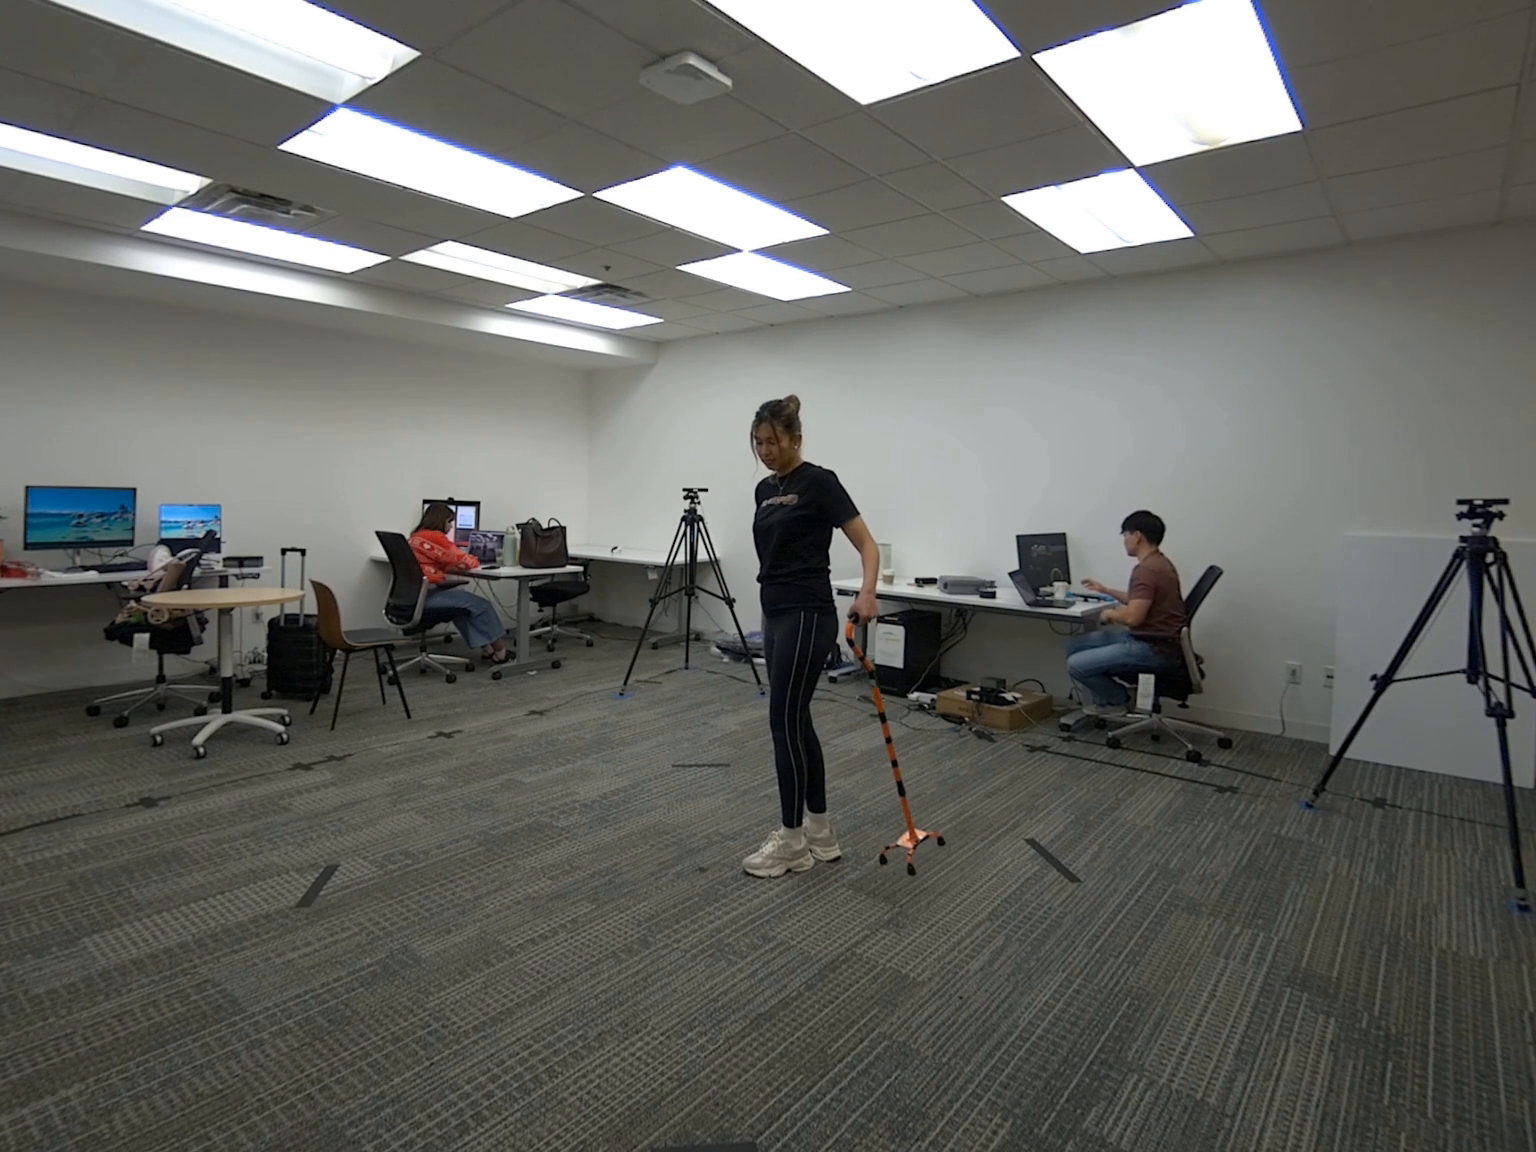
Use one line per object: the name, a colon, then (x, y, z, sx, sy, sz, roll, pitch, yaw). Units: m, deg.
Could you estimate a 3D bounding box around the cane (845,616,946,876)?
cane: (0.376, 0.551, 2.878, 0.203, 0.896, 0.156, -23, 14, -38)
